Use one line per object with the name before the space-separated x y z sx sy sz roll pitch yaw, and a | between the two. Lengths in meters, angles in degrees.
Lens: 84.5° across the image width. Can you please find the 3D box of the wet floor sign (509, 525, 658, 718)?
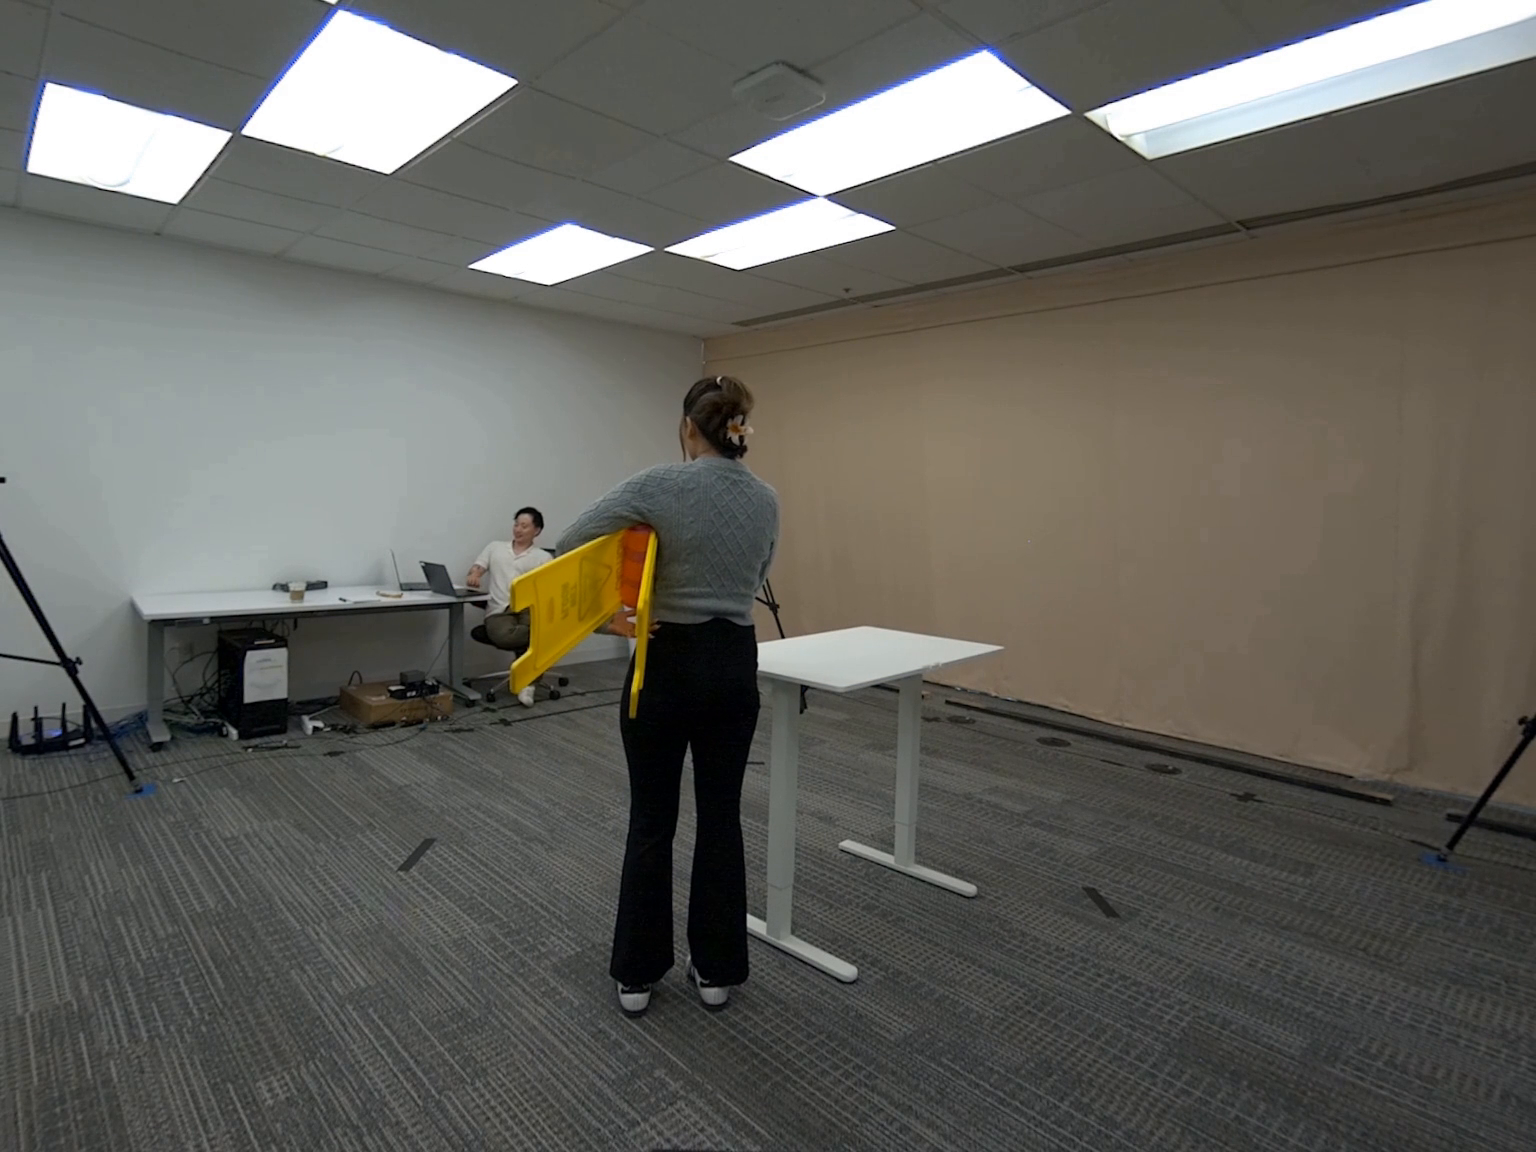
wet floor sign | -0.388 0.045 2.089 0.291 0.278 0.651 9 23 5
